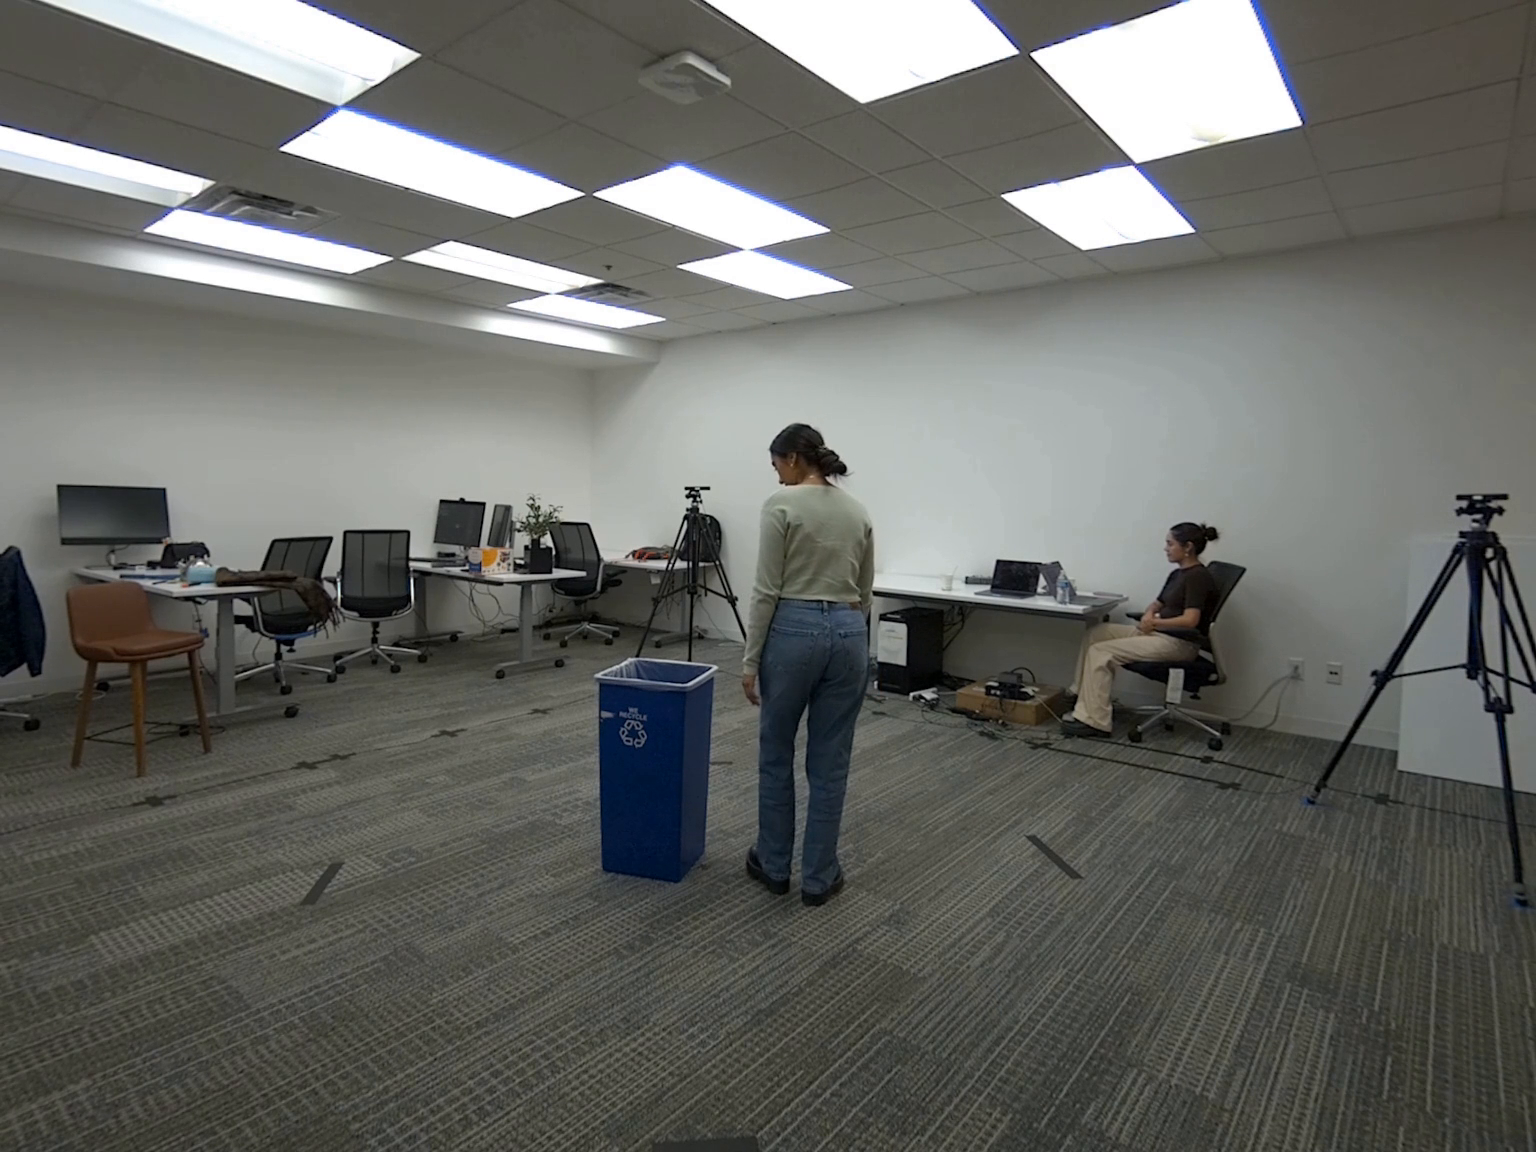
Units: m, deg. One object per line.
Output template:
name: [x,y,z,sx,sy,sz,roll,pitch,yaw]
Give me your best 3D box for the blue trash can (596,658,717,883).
blue trash can: [-0.418,0.700,3.152,0.381,0.711,0.372,2,3,16]
